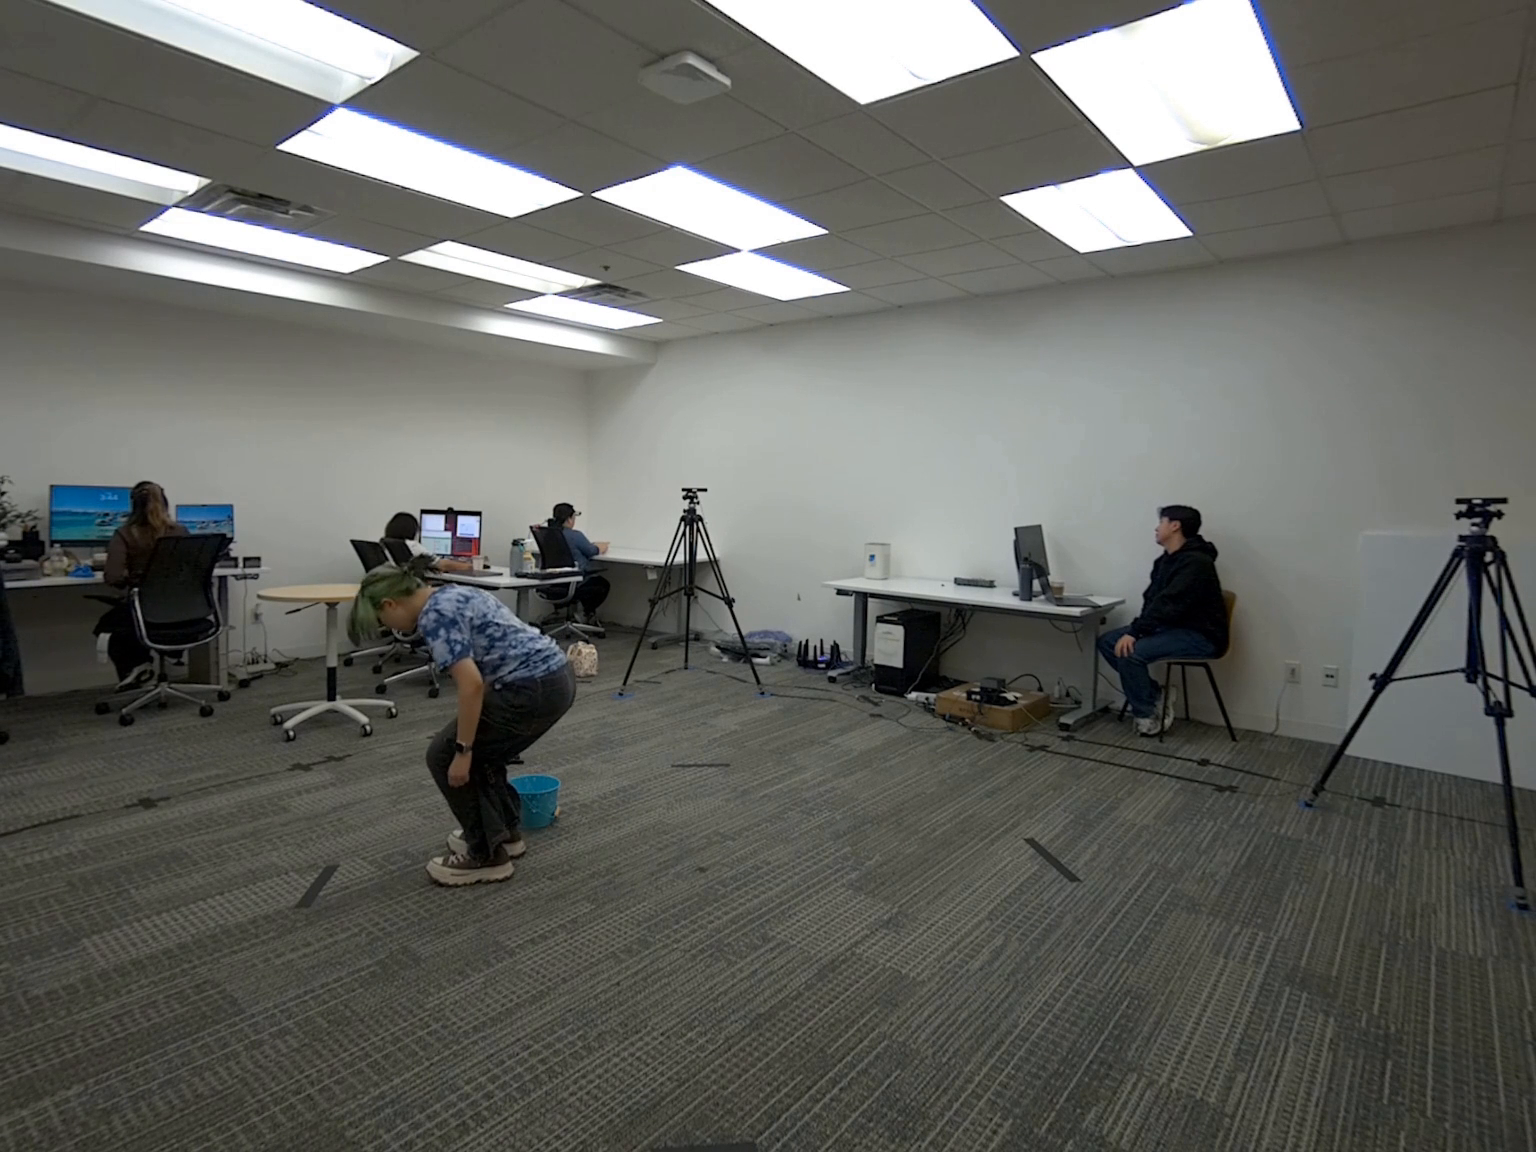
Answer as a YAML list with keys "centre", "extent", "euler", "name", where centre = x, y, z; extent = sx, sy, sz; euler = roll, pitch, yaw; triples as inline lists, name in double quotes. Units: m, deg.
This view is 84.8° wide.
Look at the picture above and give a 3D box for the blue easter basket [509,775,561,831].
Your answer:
- centre: [-0.998, 0.935, 3.543]
  extent: [0.243, 0.155, 0.245]
  euler: [1, 5, -2]
  name: "blue easter basket"
